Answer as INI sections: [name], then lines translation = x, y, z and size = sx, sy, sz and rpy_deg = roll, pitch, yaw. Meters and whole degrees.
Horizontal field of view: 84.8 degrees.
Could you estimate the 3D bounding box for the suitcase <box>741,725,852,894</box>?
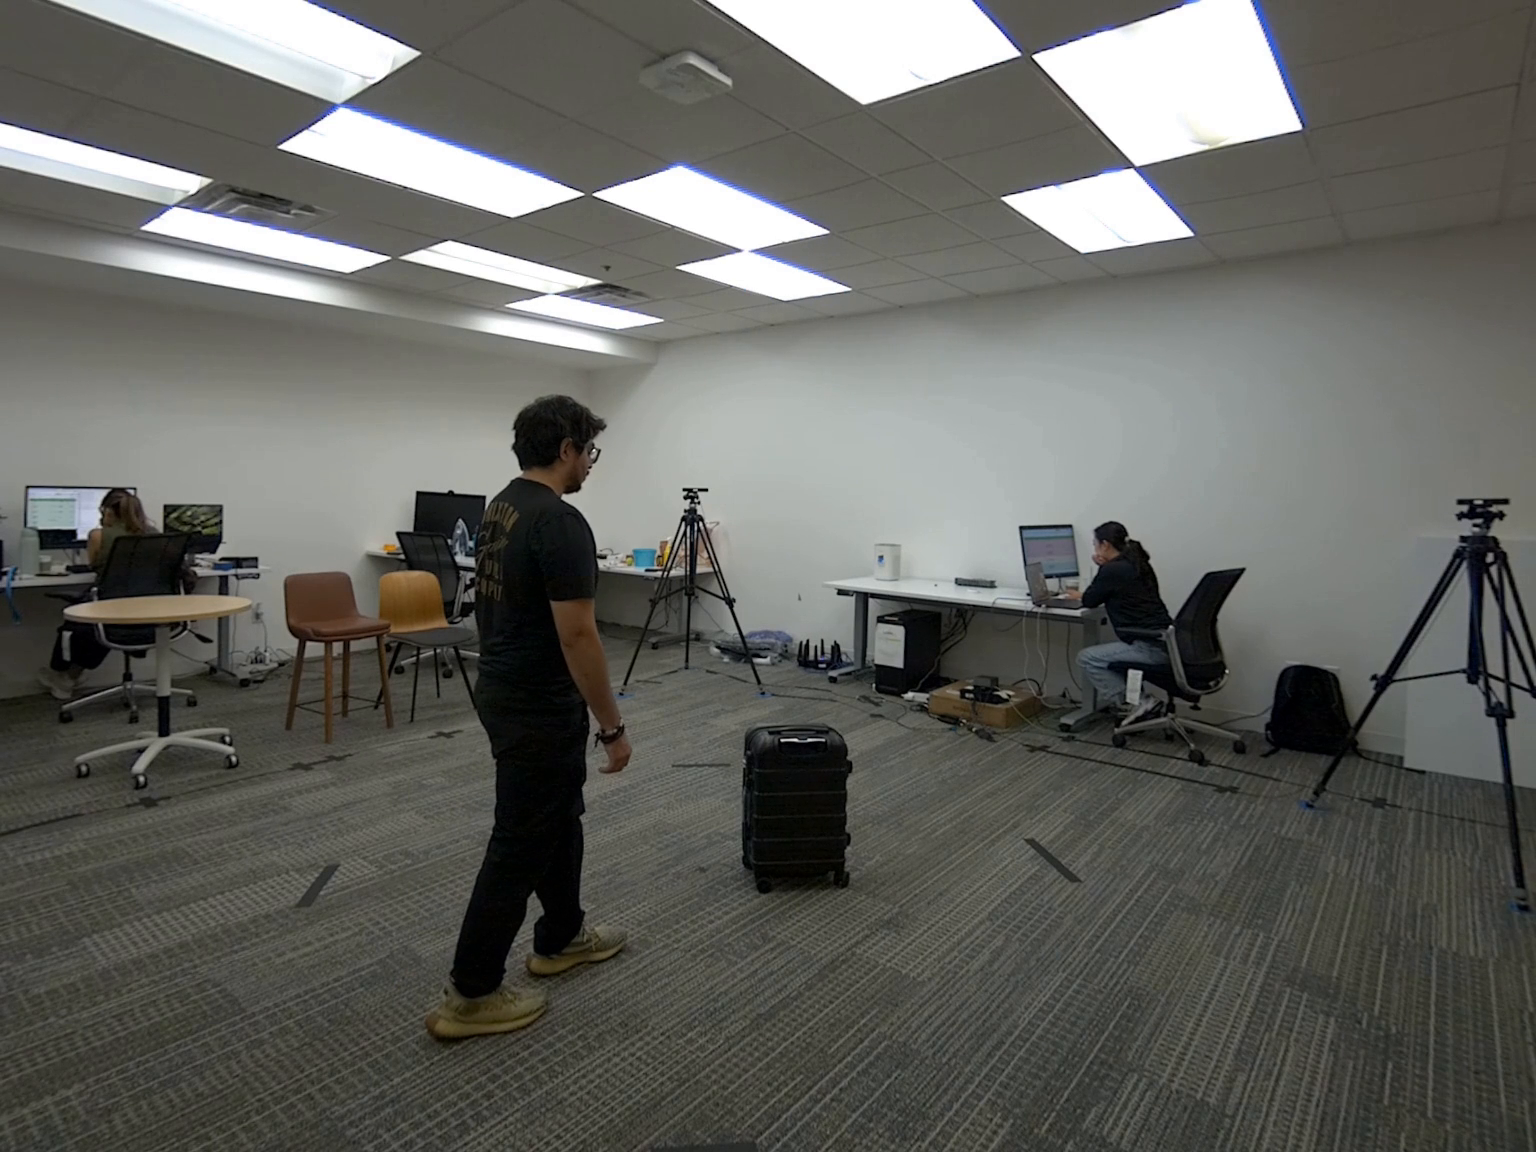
[suitcase]
translation = 0.087, 0.803, 3.055
size = 0.372, 0.548, 0.251
rpy_deg = 0, 3, -9
